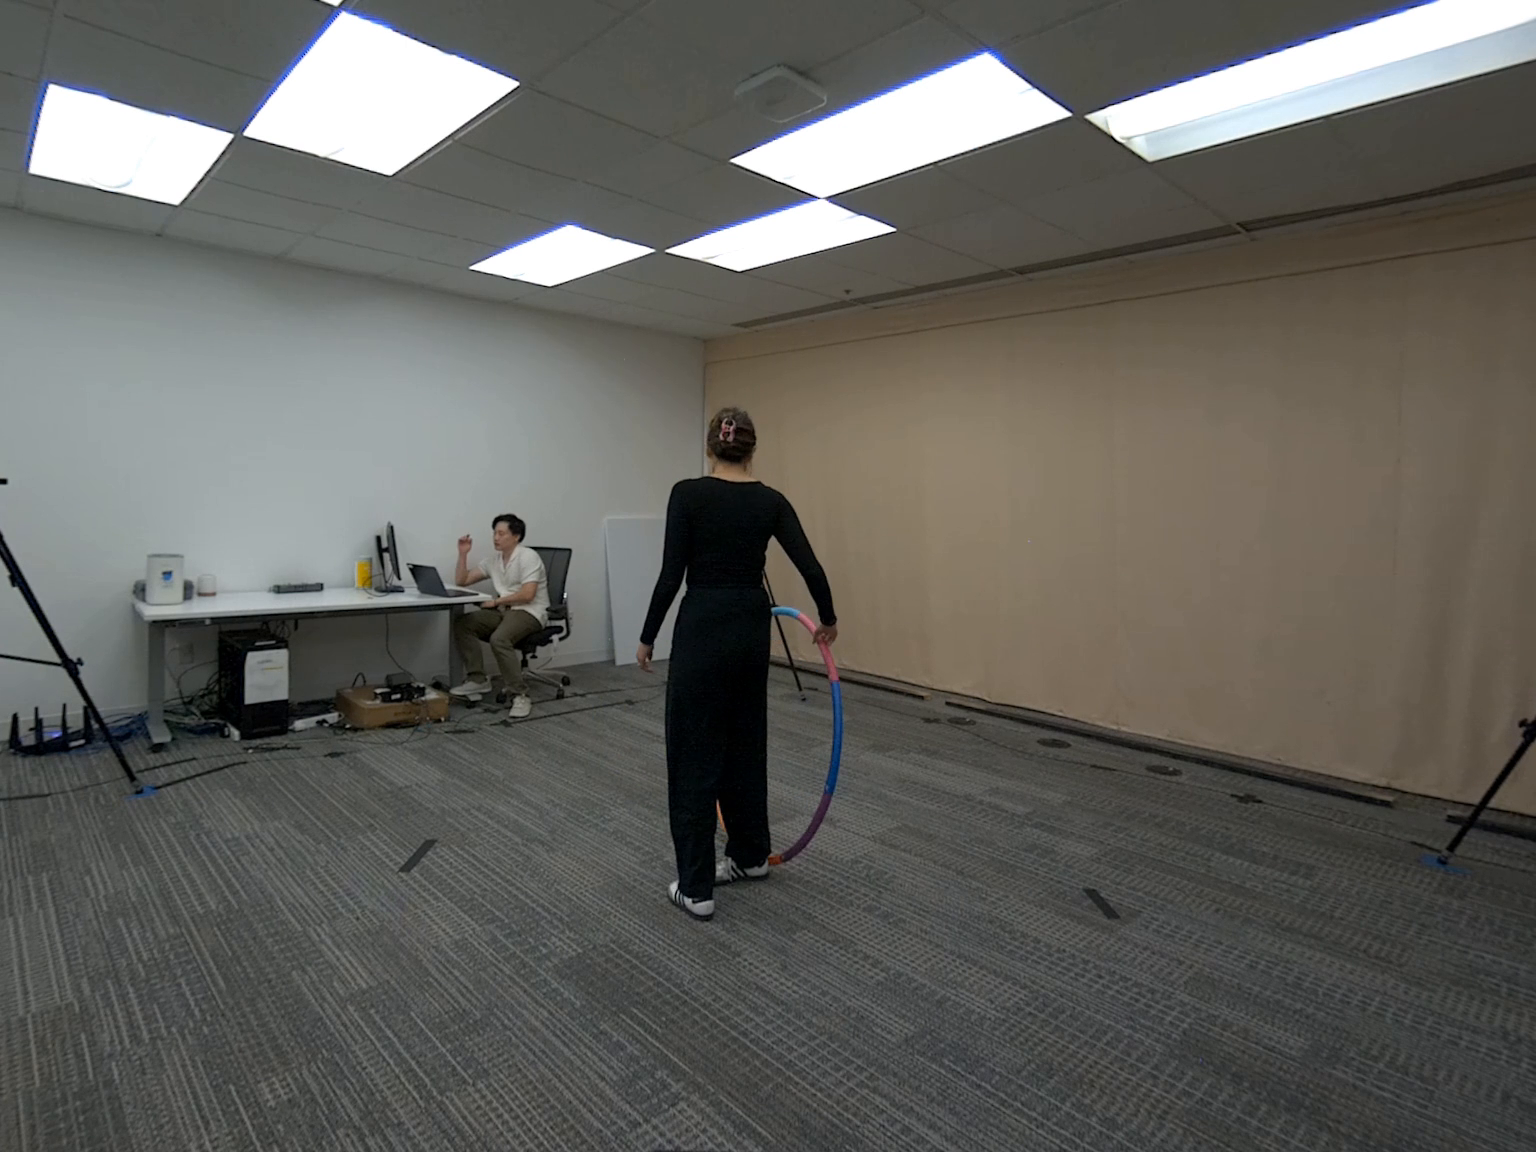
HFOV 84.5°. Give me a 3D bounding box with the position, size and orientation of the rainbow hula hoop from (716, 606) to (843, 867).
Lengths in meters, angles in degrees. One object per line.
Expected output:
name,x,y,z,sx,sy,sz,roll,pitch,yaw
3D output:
rainbow hula hoop,-0.025,0.613,3.302,0.035,0.979,1.000,11,-1,-28
